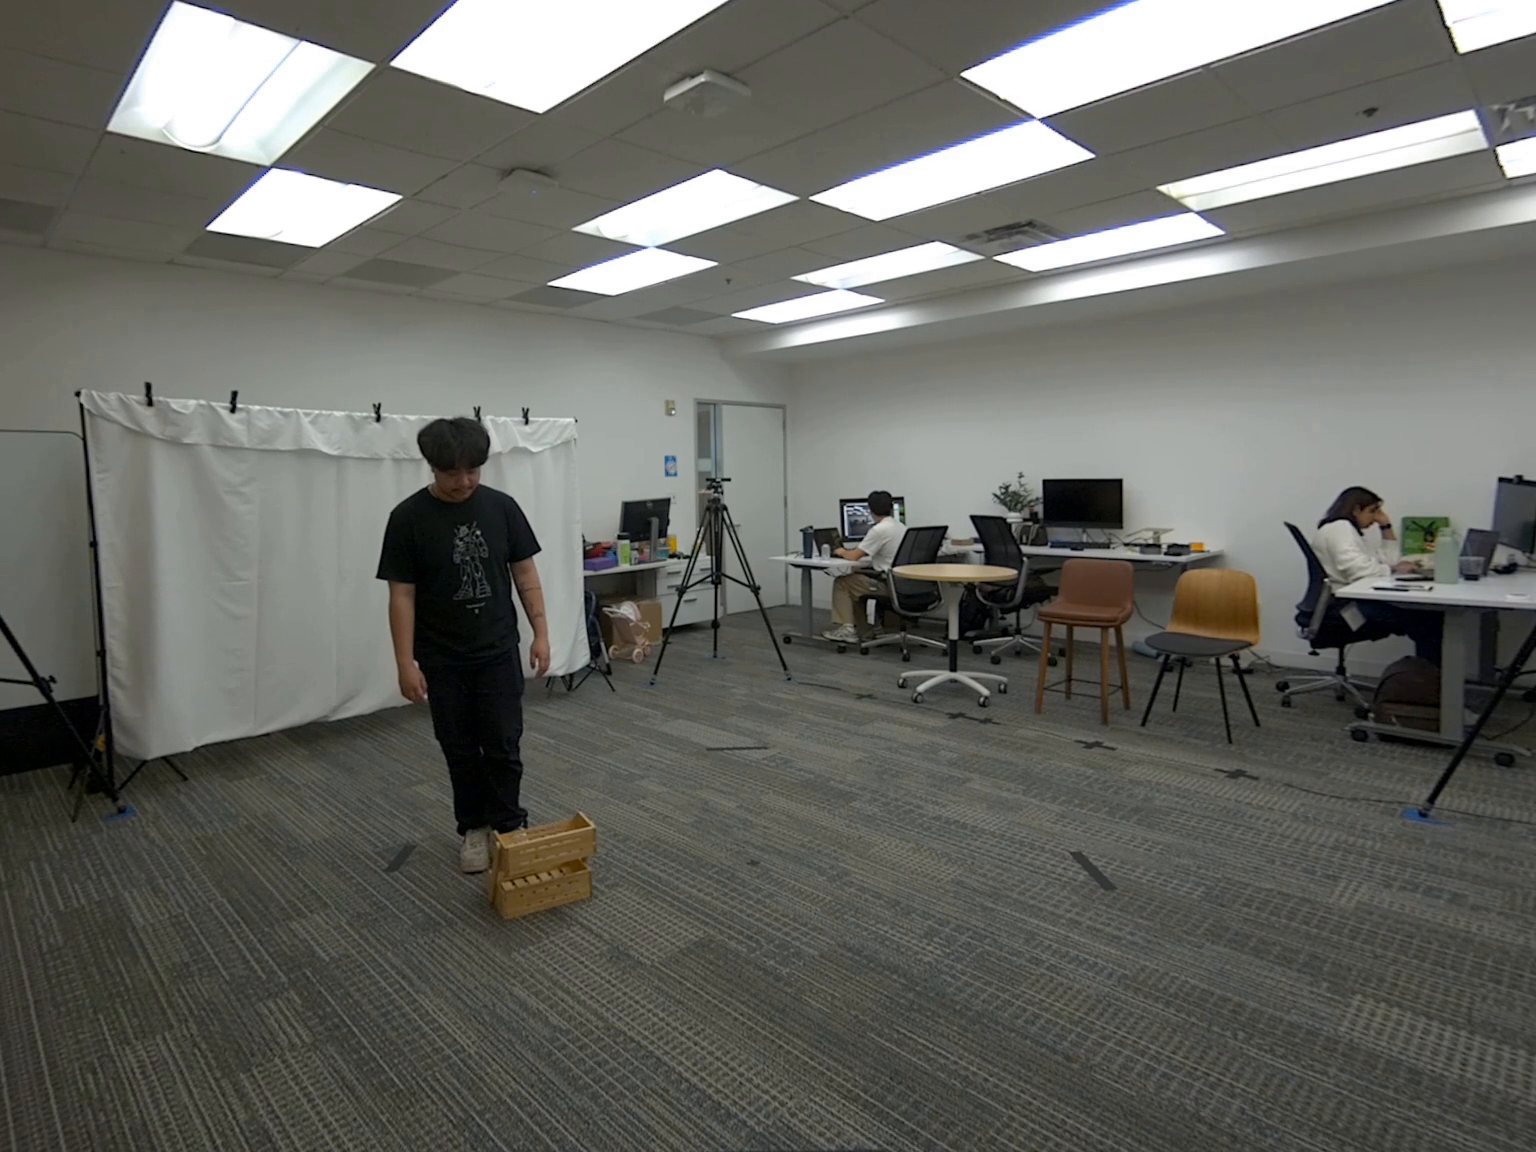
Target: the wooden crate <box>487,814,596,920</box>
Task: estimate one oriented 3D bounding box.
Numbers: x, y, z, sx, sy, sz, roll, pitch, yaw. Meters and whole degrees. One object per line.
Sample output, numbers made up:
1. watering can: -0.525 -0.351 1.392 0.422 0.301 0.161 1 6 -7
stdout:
1. wooden crate: -0.770 0.952 2.876 0.317 0.272 0.311 -5 7 -31
